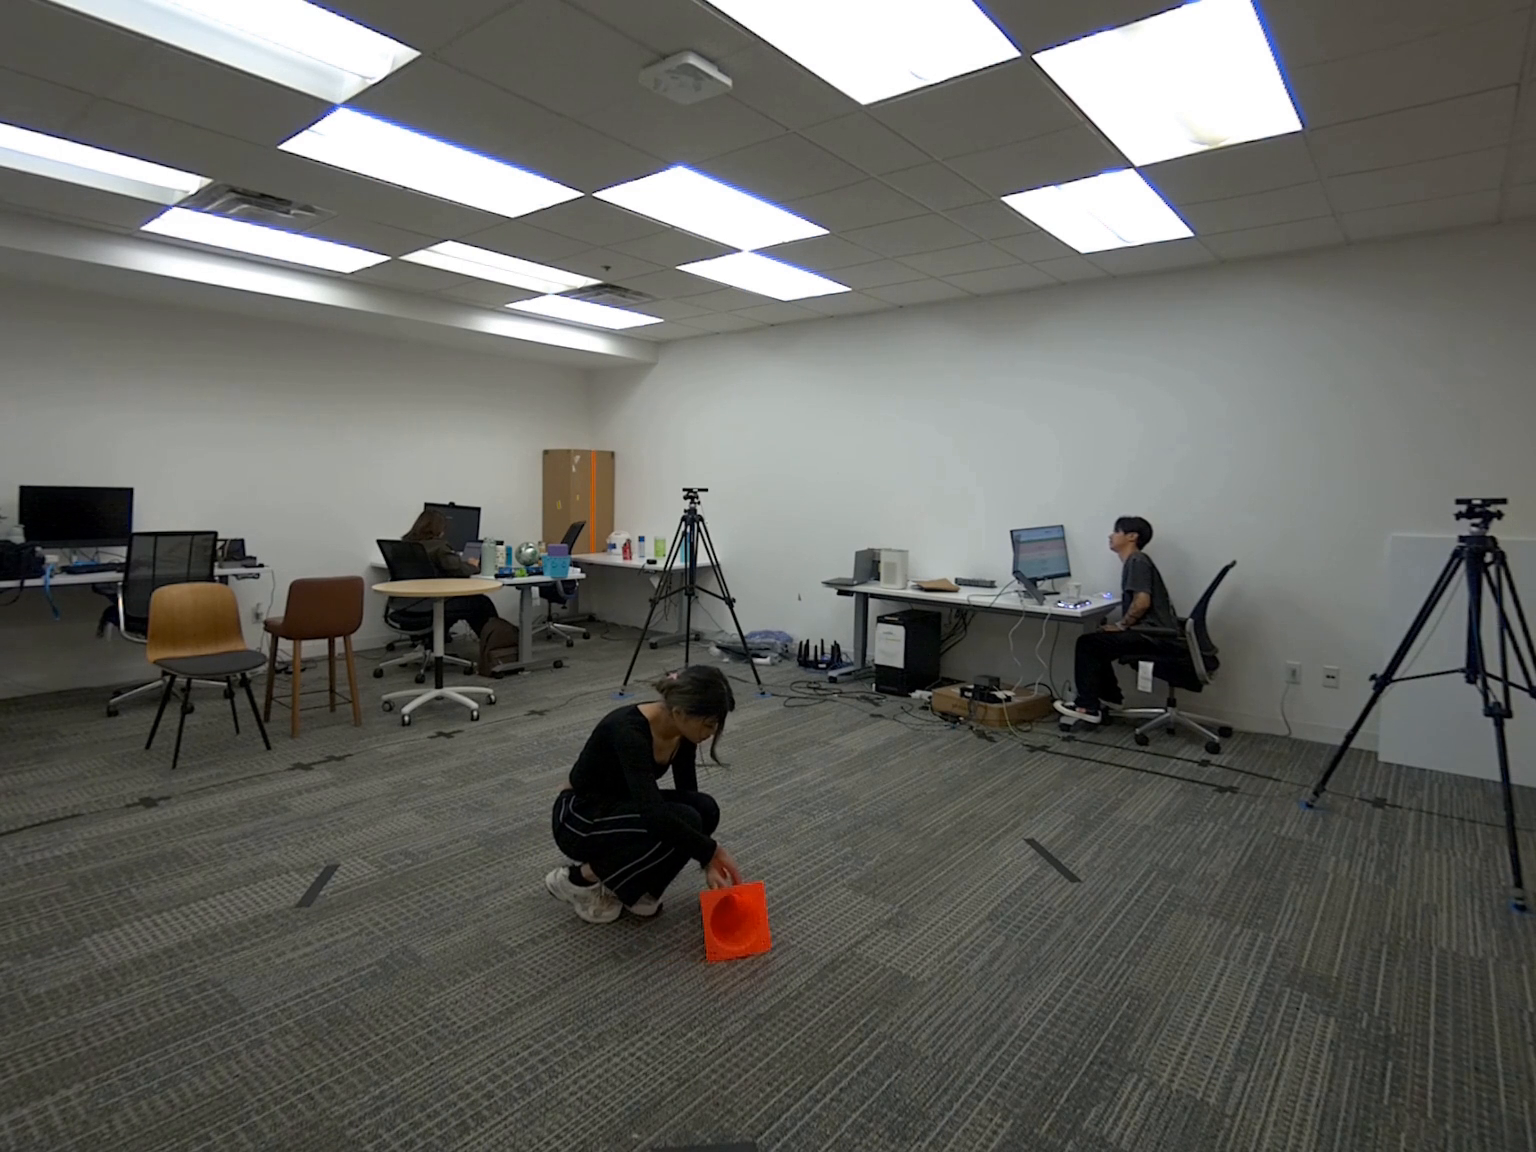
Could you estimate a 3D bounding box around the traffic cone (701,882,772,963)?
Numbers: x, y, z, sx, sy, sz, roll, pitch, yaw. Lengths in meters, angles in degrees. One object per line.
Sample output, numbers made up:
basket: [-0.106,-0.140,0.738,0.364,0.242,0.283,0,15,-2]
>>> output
traffic cone: [-0.167,1.053,2.712,0.200,0.207,0.387,-2,-8,-19]
